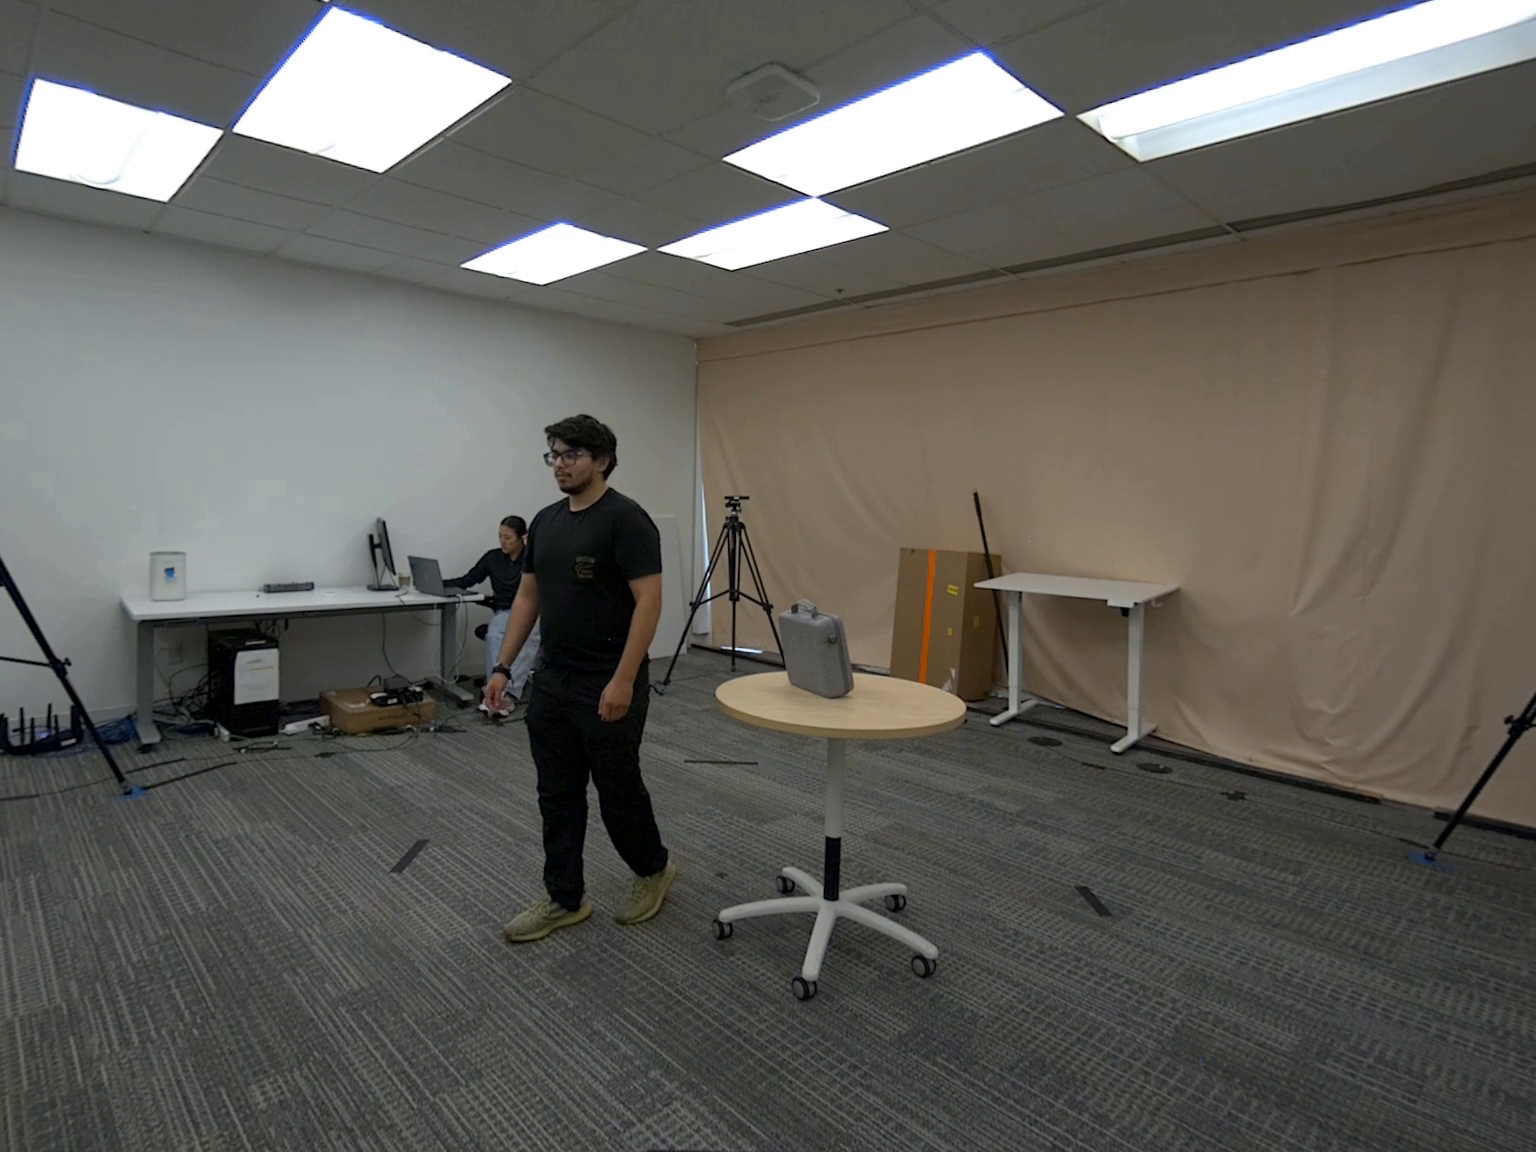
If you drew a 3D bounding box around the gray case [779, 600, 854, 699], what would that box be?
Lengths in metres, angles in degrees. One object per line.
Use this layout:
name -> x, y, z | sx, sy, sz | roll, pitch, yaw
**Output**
gray case -> 0.144, 0.236, 2.665 | 0.103, 0.259, 0.262 | -12, 10, -27
